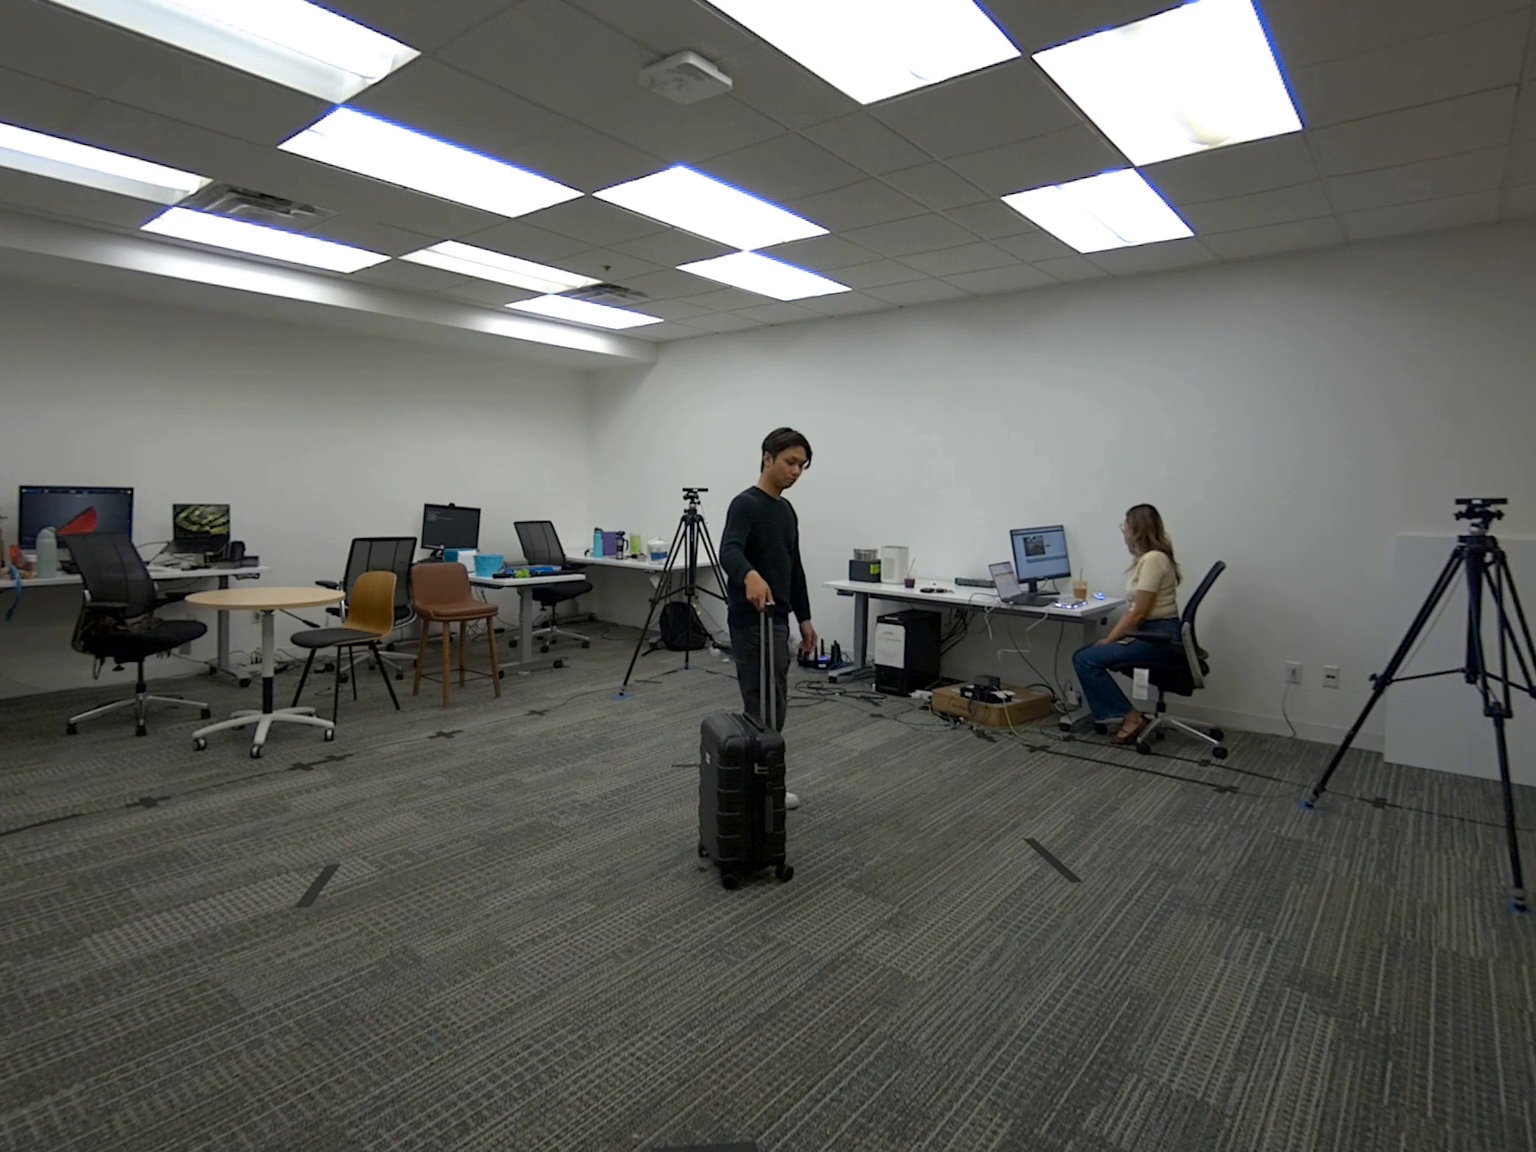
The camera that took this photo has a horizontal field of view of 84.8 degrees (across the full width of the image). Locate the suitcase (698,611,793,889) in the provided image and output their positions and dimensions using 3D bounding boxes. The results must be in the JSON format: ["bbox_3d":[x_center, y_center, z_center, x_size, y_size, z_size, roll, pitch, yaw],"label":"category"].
[{"bbox_3d":[-0.115,0.594,3.109,0.253,0.975,0.391,-2,4,-17],"label":"suitcase"}]
